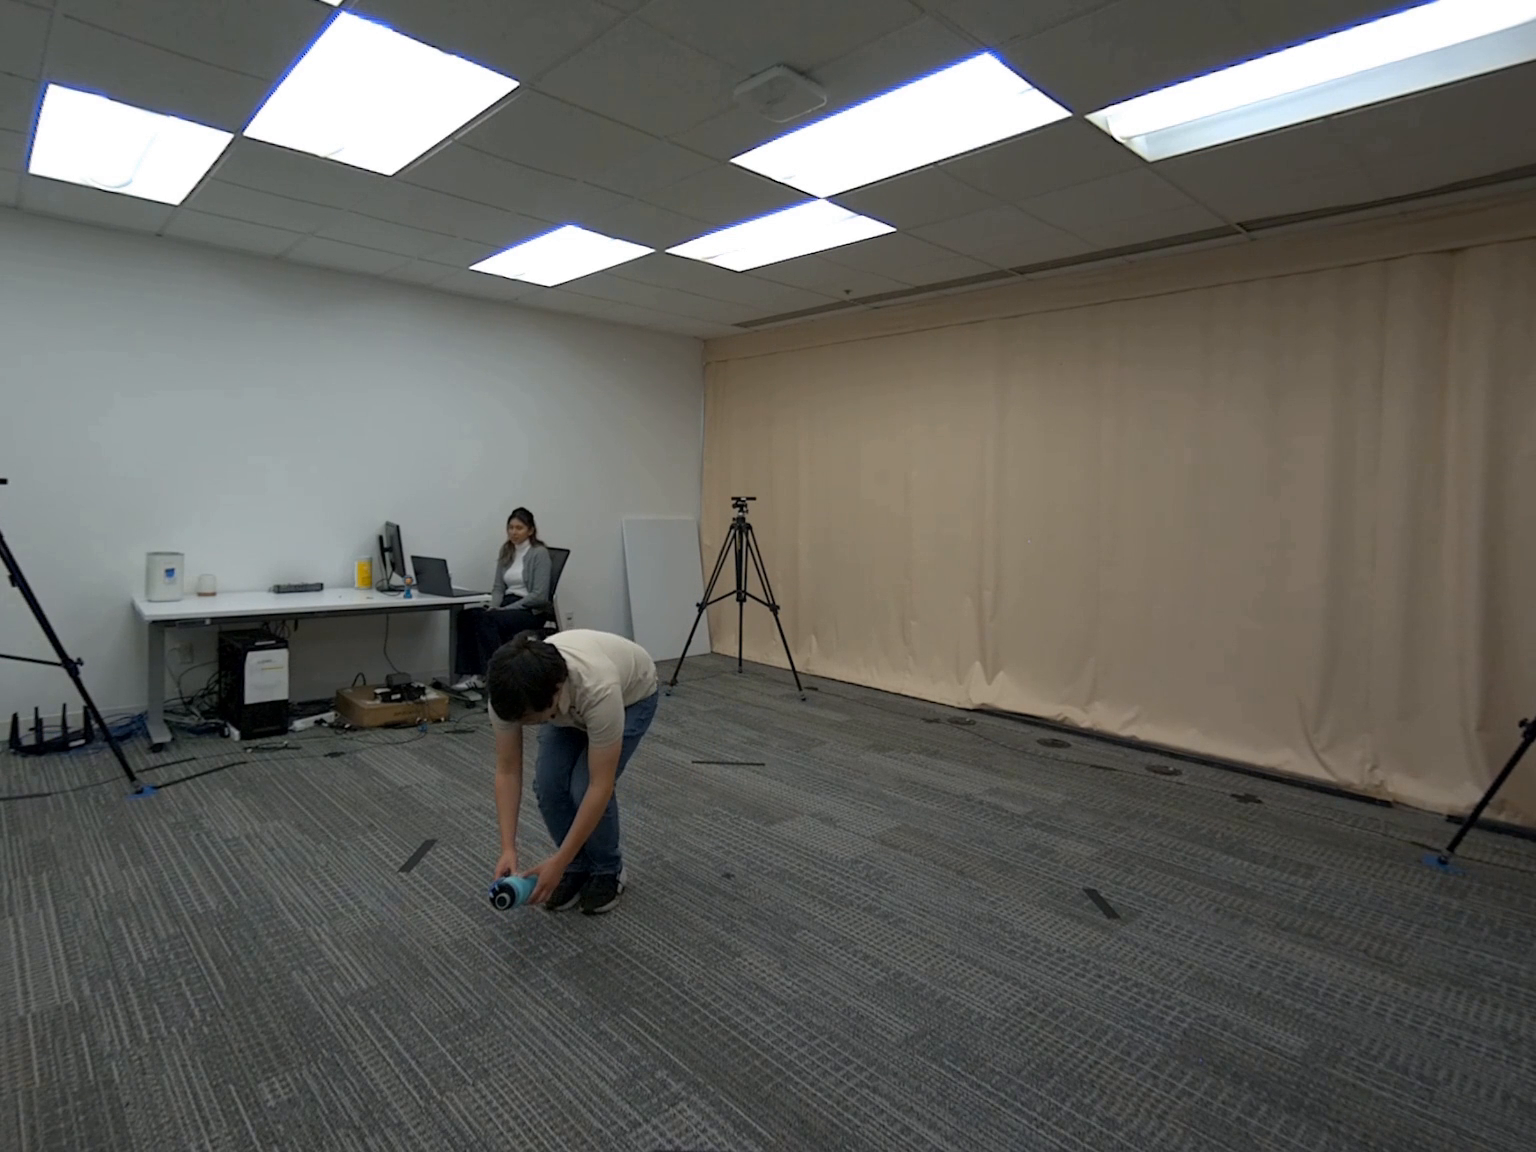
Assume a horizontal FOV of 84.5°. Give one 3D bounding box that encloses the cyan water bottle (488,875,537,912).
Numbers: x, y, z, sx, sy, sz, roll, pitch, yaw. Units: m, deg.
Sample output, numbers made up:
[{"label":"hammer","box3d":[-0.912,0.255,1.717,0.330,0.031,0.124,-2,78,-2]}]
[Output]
[{"label":"cyan water bottle","box3d":[-0.764,0.957,2.565,0.093,0.093,0.278,3,-8,16]}]
